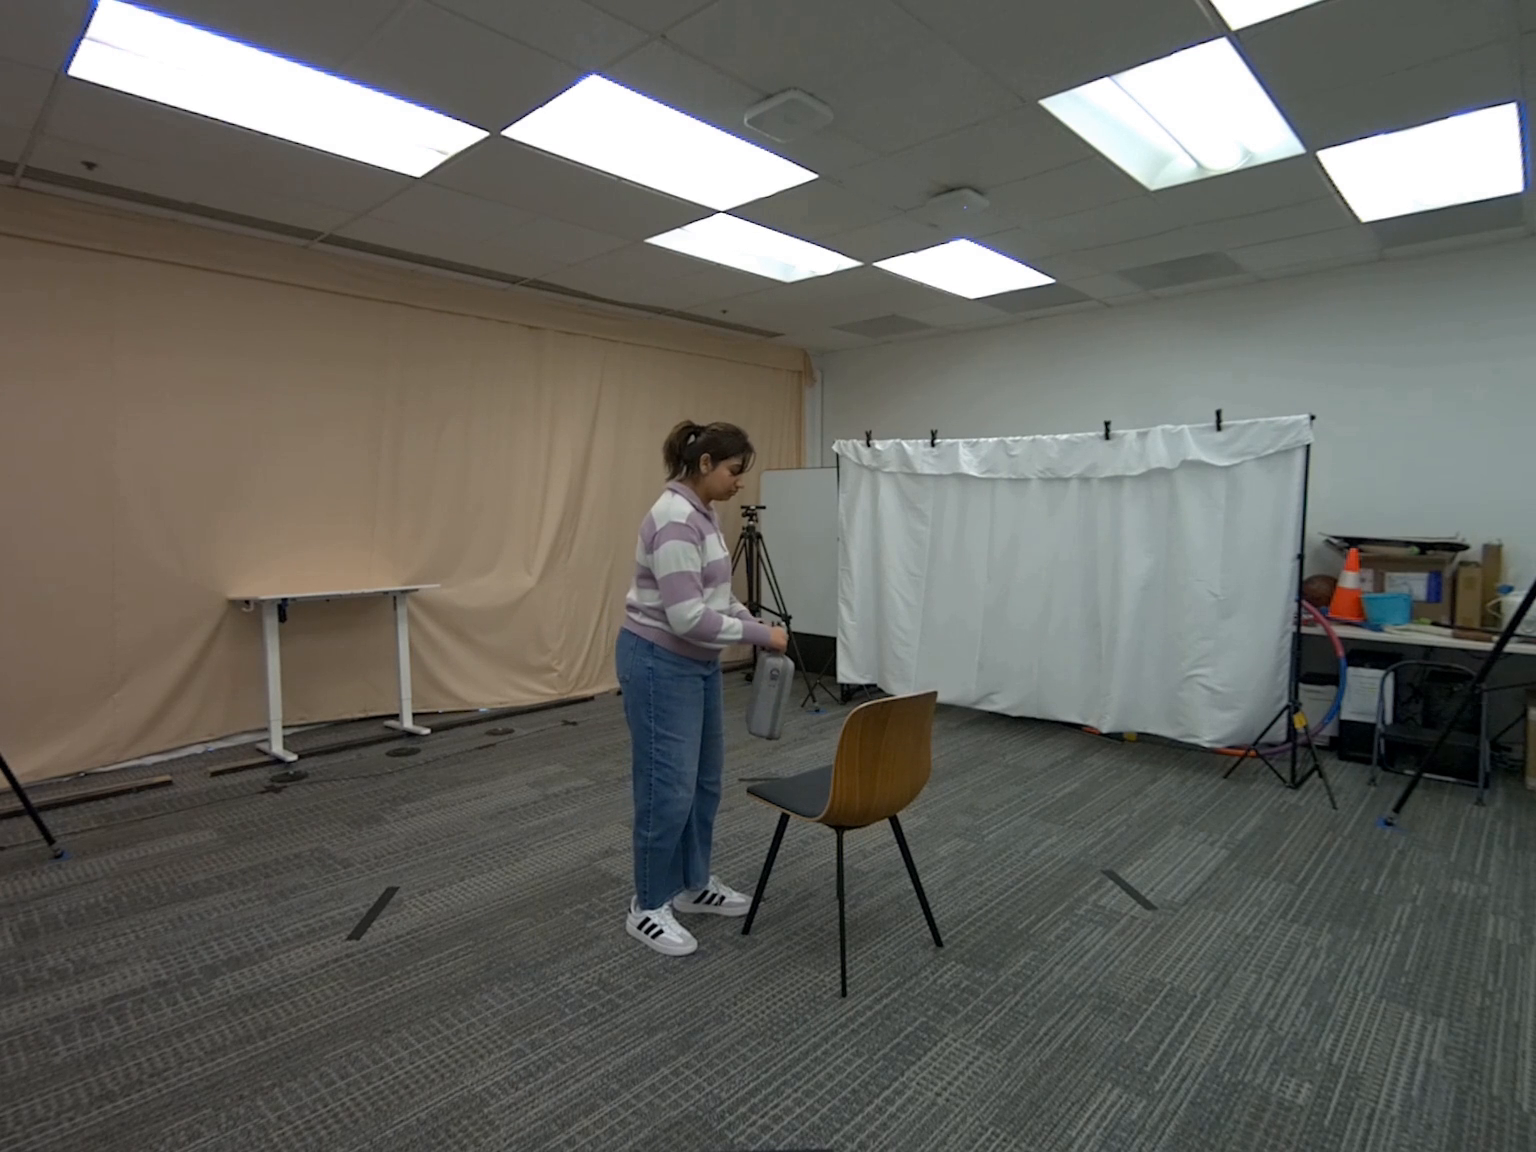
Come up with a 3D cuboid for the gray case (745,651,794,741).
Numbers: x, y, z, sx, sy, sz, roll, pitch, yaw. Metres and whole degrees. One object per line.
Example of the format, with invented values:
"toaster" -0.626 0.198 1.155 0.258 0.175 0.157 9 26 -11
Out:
"gray case" 0.009 0.375 2.683 0.104 0.261 0.257 11 -1 -4
